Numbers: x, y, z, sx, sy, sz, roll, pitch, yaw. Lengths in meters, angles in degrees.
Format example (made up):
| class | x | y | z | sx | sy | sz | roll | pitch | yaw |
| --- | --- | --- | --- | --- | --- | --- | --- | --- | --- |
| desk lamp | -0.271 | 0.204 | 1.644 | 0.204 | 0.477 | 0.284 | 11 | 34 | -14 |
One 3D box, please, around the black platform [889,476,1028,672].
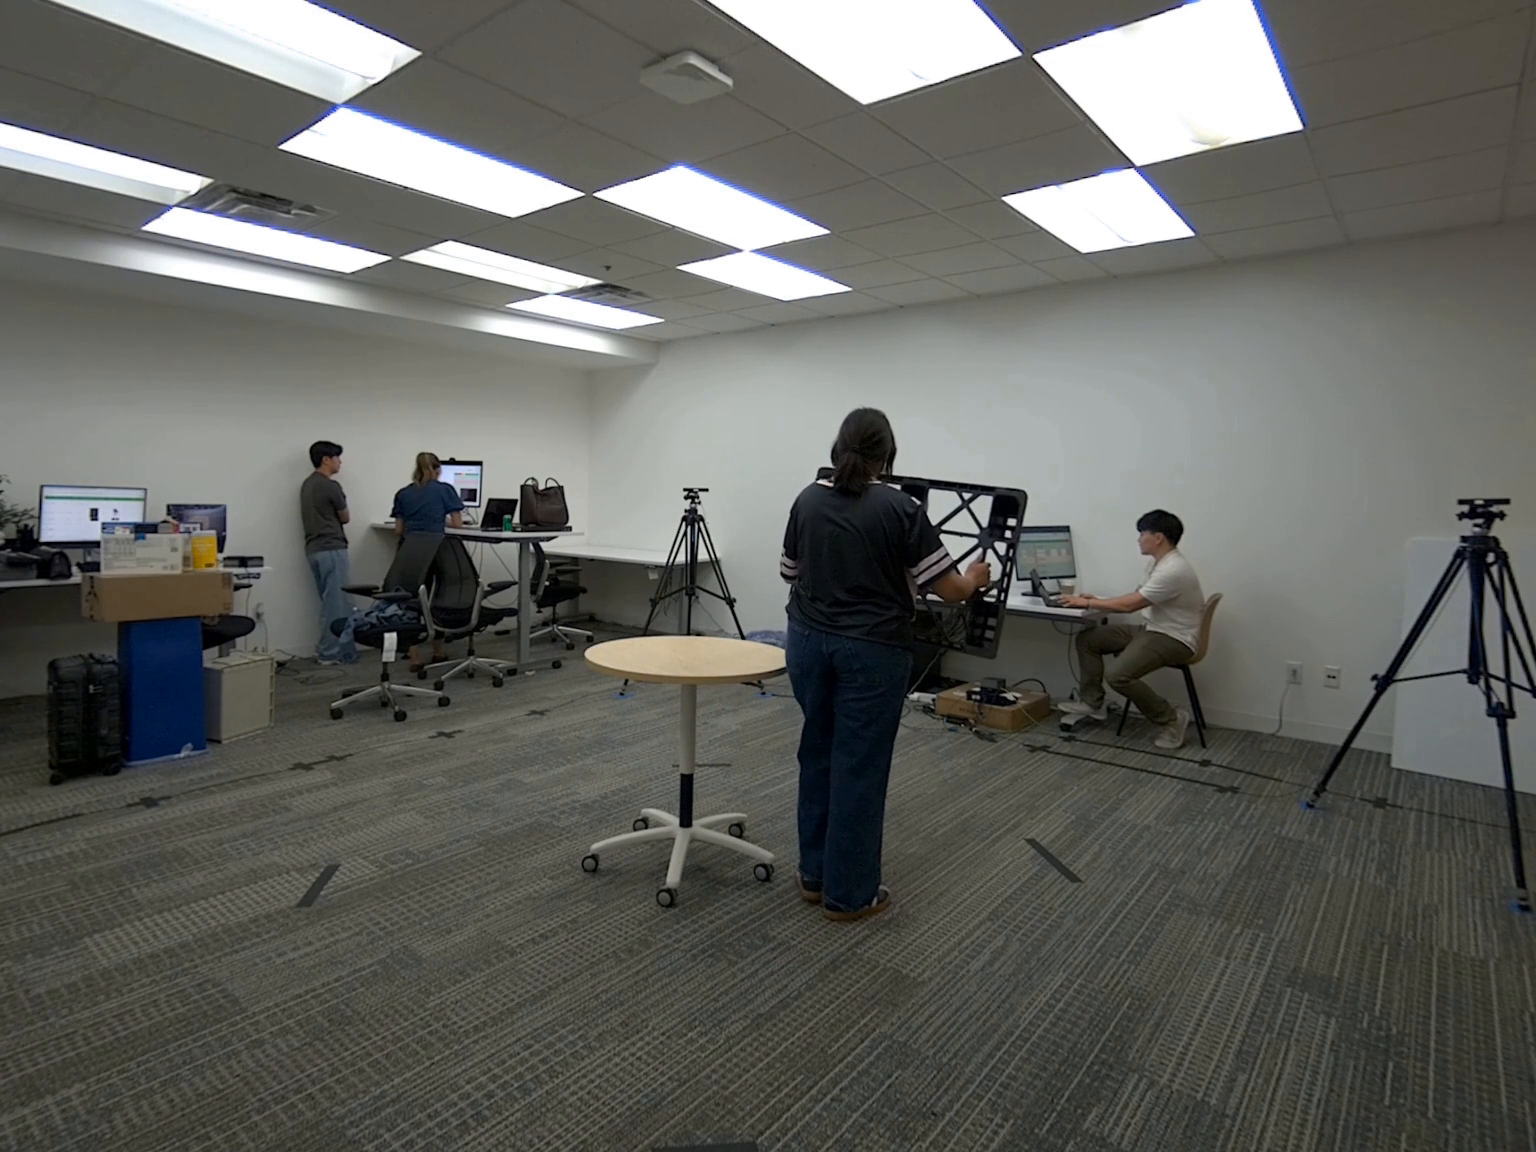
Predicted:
| class | x | y | z | sx | sy | sz | roll | pitch | yaw |
| --- | --- | --- | --- | --- | --- | --- | --- | --- | --- |
| black platform | 0.501 | -0.063 | 3.170 | 0.831 | 0.607 | 0.138 | 11 | -6 | 29 |
